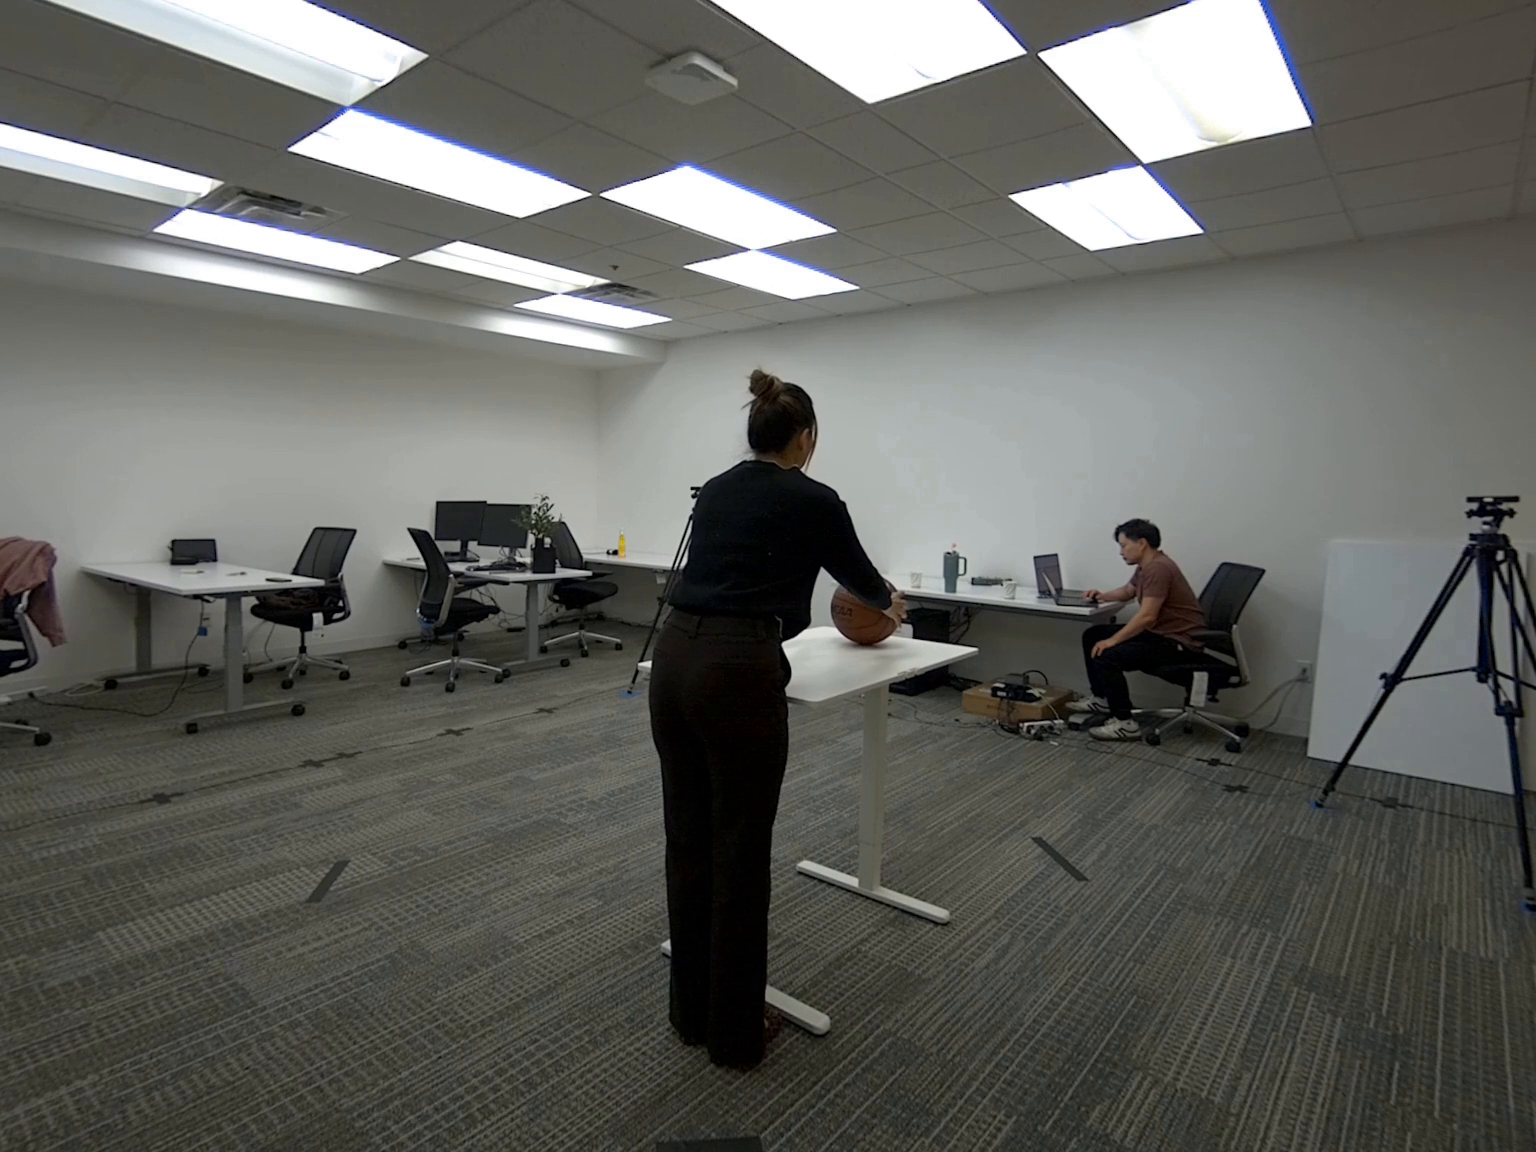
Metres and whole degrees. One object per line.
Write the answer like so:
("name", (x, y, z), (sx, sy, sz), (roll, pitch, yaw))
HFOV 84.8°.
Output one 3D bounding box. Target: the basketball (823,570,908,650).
("basketball", (0.320, 0.105, 2.829), (0.235, 0.235, 0.237), (1, 4, -2))
